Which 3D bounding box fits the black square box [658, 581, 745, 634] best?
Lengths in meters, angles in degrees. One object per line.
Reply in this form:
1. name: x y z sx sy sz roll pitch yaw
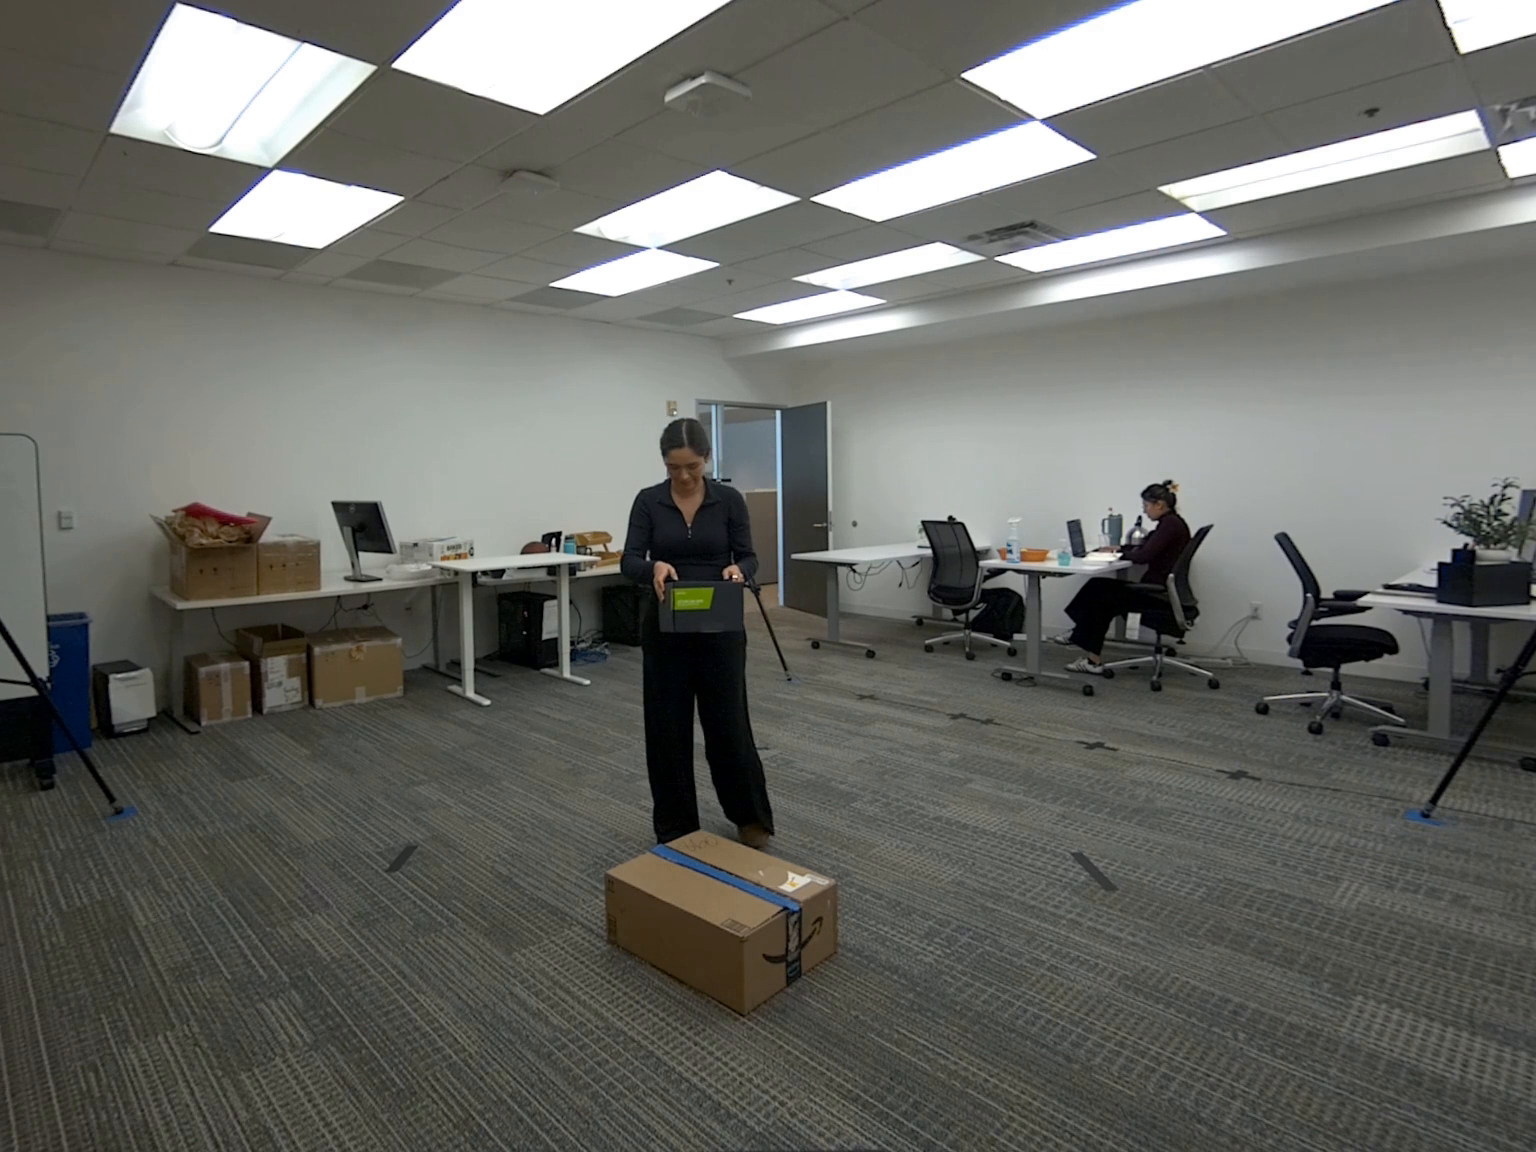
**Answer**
1. black square box: -0.212 0.101 2.748 0.225 0.156 0.219 0 -3 -16
